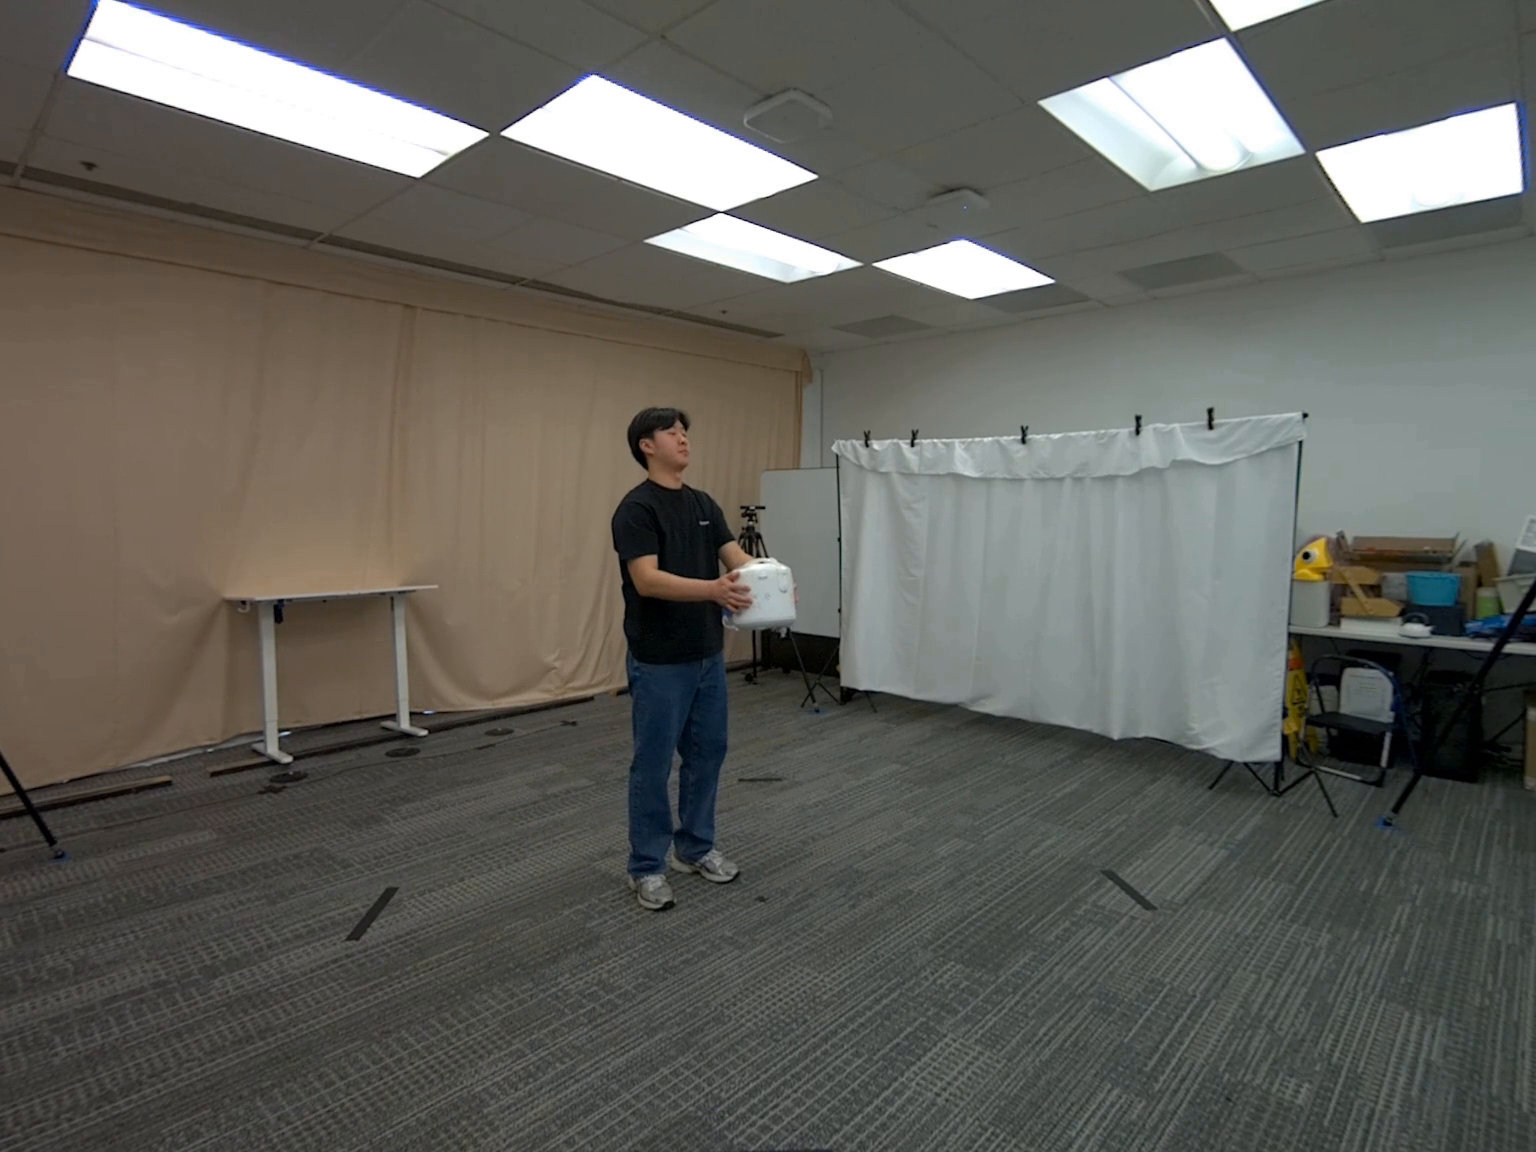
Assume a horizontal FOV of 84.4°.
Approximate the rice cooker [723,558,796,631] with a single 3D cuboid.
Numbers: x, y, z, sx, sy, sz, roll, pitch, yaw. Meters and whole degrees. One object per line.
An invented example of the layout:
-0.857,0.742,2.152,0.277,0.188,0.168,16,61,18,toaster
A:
-0.015,0.060,2.756,0.210,0.234,0.227,0,-8,-43,rice cooker
